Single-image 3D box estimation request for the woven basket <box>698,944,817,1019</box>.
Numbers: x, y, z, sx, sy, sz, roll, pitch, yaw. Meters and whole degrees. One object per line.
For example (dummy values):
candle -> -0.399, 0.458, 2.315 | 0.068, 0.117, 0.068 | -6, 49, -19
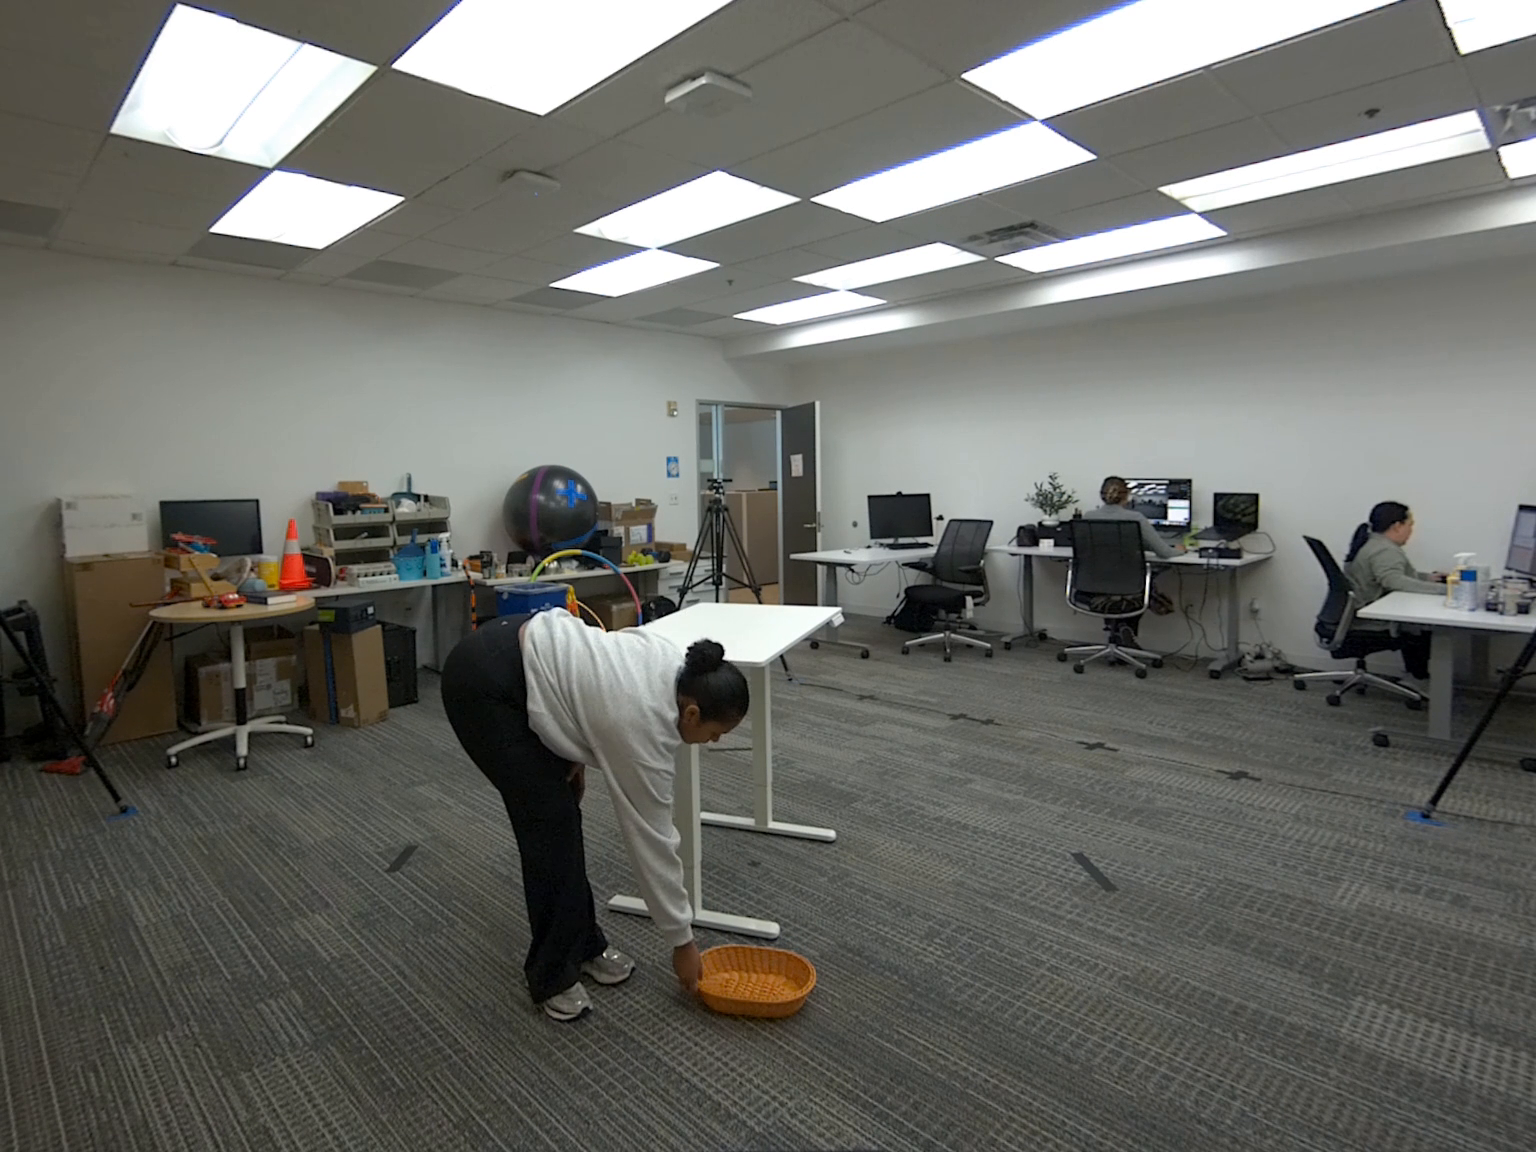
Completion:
woven basket -> -0.045, 1.090, 2.308 | 0.354, 0.073, 0.251 | 0, 8, 11
